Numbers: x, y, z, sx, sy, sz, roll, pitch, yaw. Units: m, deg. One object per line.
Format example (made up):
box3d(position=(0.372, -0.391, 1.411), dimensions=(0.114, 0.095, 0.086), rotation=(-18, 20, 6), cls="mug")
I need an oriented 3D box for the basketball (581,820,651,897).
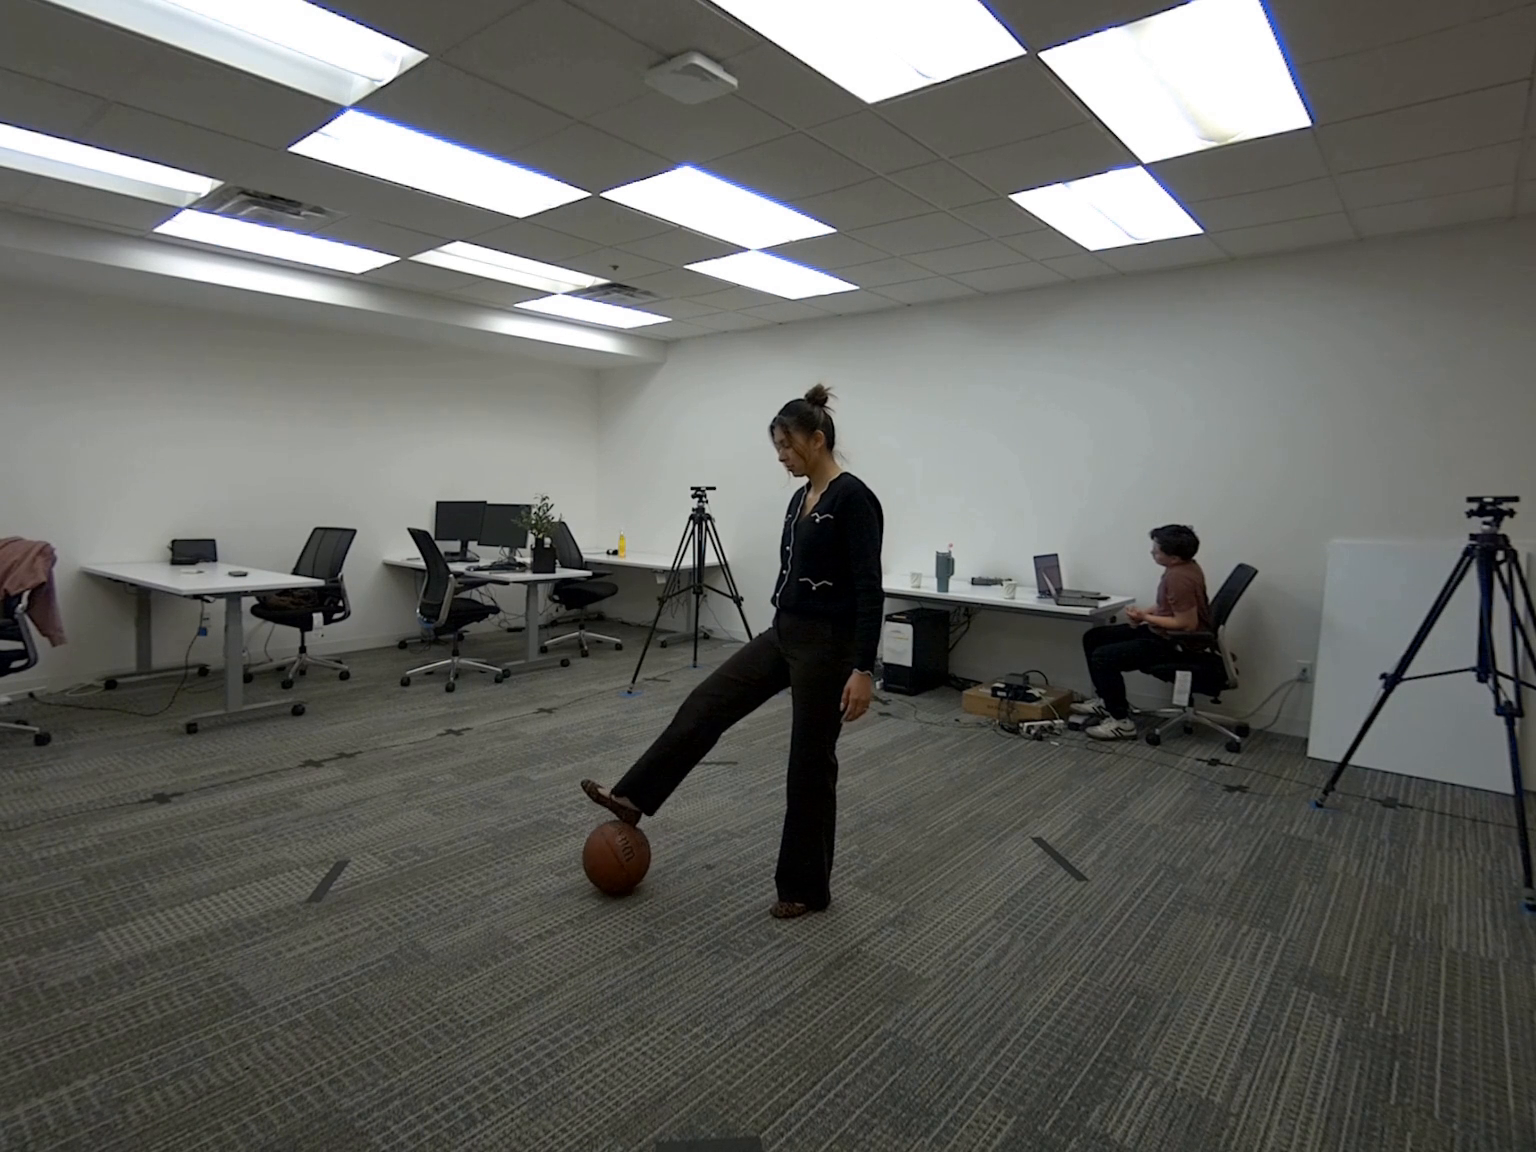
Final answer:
box3d(position=(-0.519, 0.962, 2.922), dimensions=(0.235, 0.235, 0.237), rotation=(1, 4, -2), cls="basketball")
